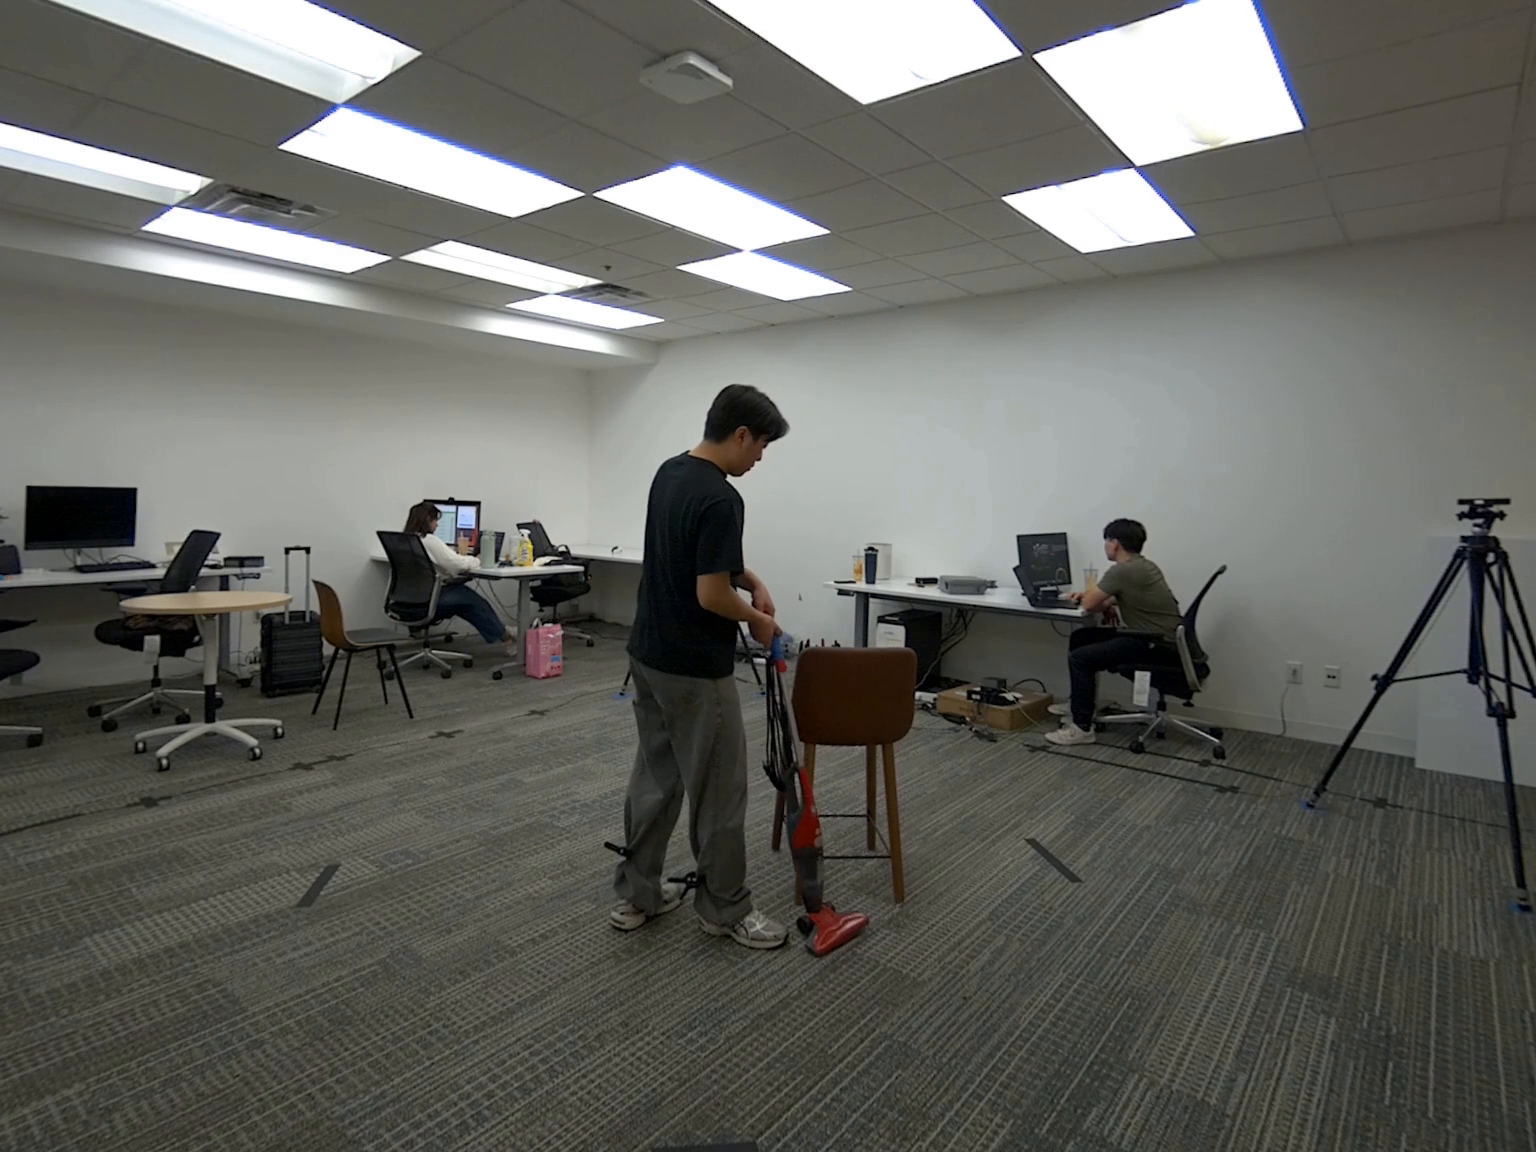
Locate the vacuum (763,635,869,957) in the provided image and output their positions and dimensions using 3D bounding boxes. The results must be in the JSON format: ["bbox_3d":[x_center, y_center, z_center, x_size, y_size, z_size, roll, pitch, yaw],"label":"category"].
[{"bbox_3d":[0.067,0.605,2.690,0.246,1.054,0.147,-9,-5,-46],"label":"vacuum"}]
